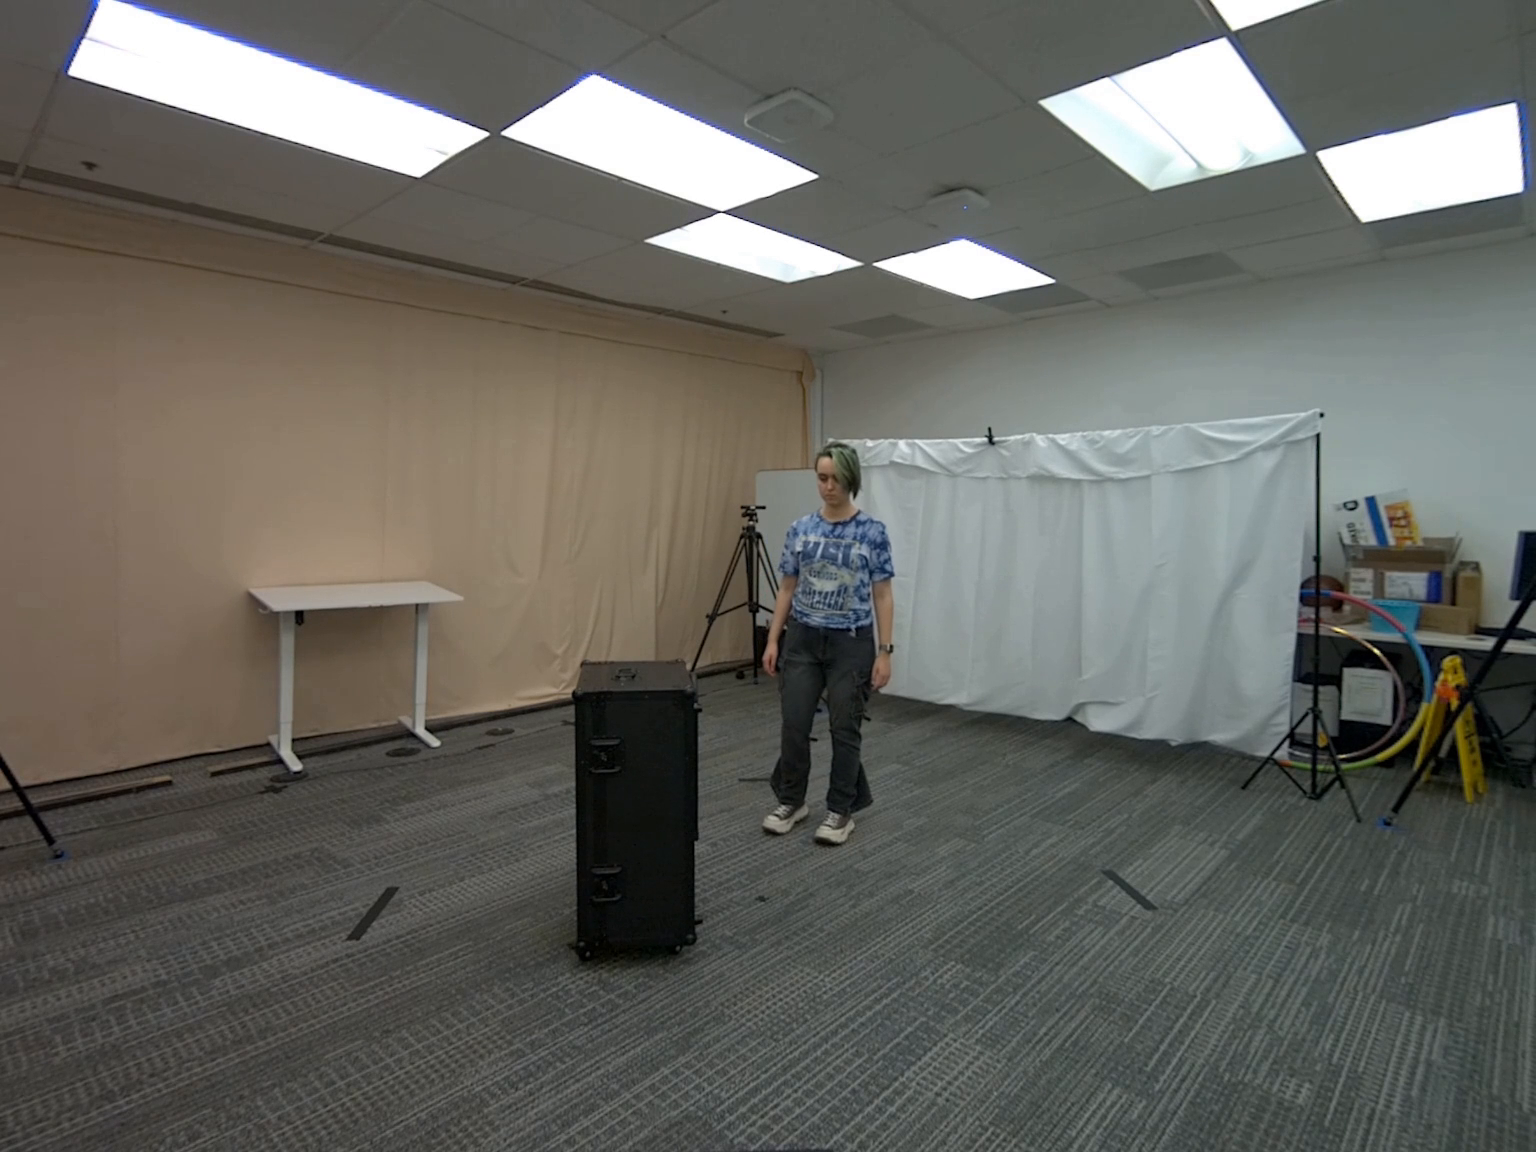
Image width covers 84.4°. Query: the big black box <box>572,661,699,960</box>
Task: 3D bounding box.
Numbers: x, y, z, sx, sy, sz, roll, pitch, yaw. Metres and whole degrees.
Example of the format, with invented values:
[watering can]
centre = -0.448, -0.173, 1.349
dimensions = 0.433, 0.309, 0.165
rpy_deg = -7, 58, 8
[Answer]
[big black box]
centre = -0.425, 0.741, 2.740
dimensions = 0.393, 0.860, 0.526
rpy_deg = 0, 3, -8
